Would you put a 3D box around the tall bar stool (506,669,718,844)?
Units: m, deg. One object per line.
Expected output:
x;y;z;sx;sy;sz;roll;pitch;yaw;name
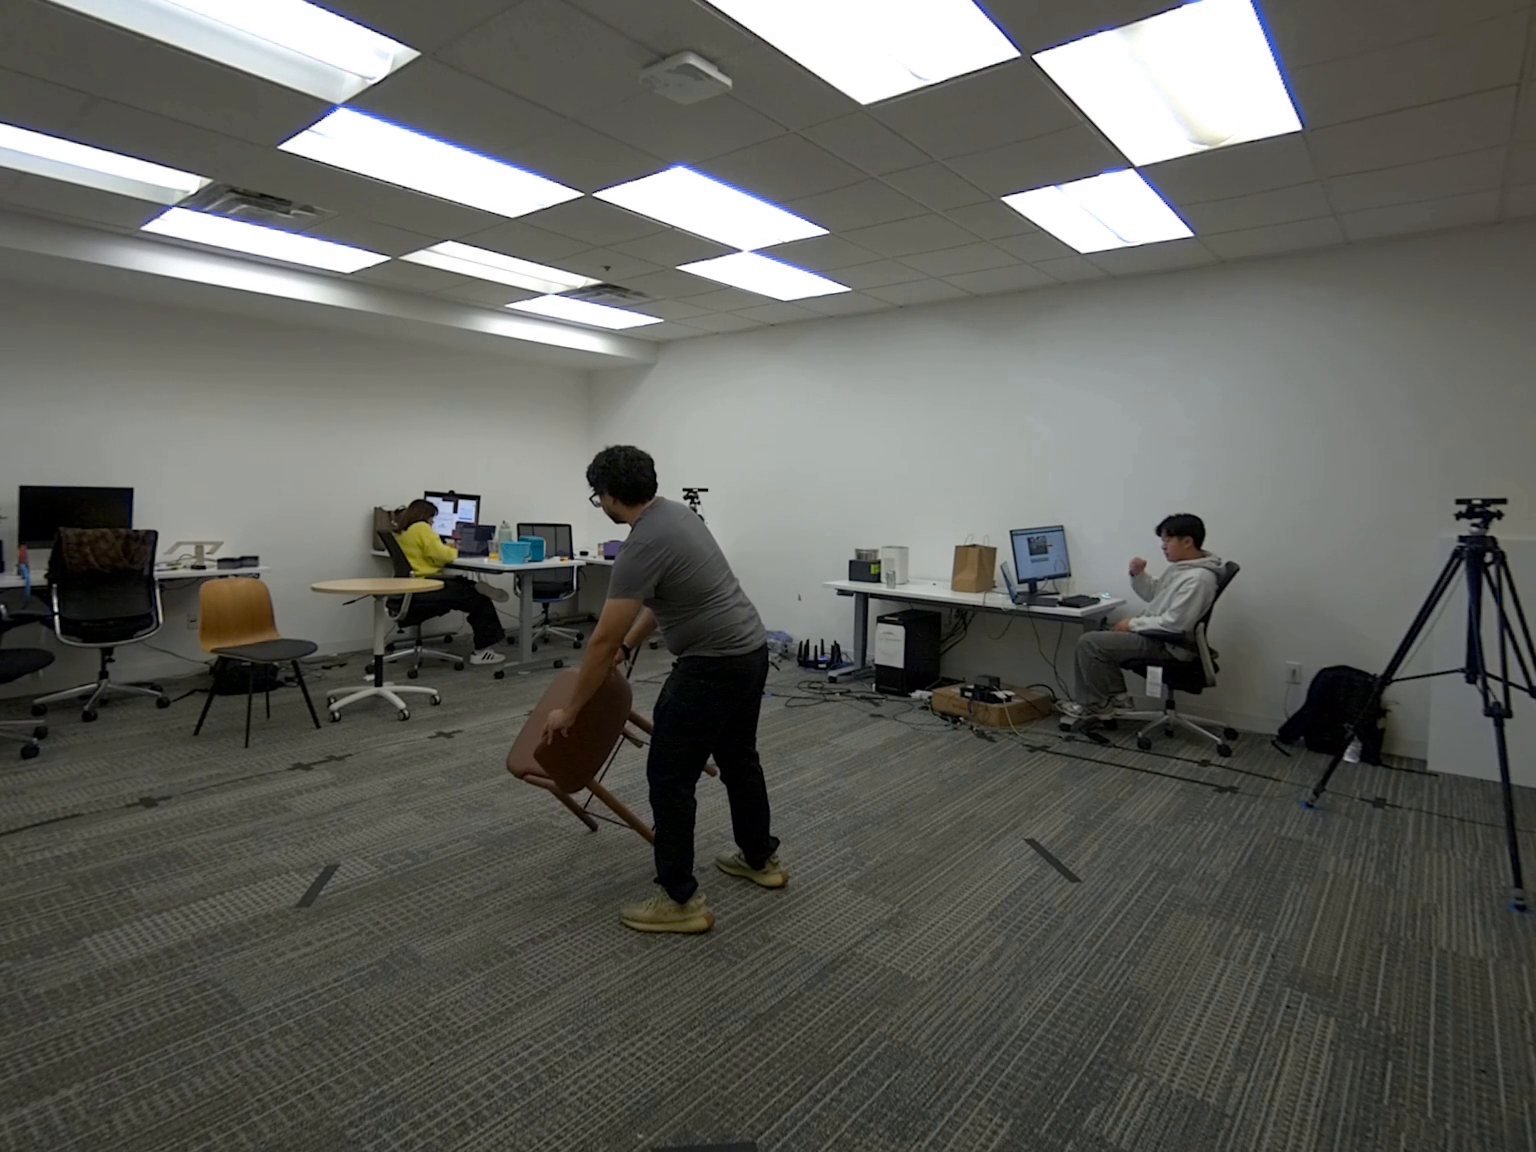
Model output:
-0.647;0.634;3.129;0.484;0.460;0.854;8;-34;36;tall bar stool
